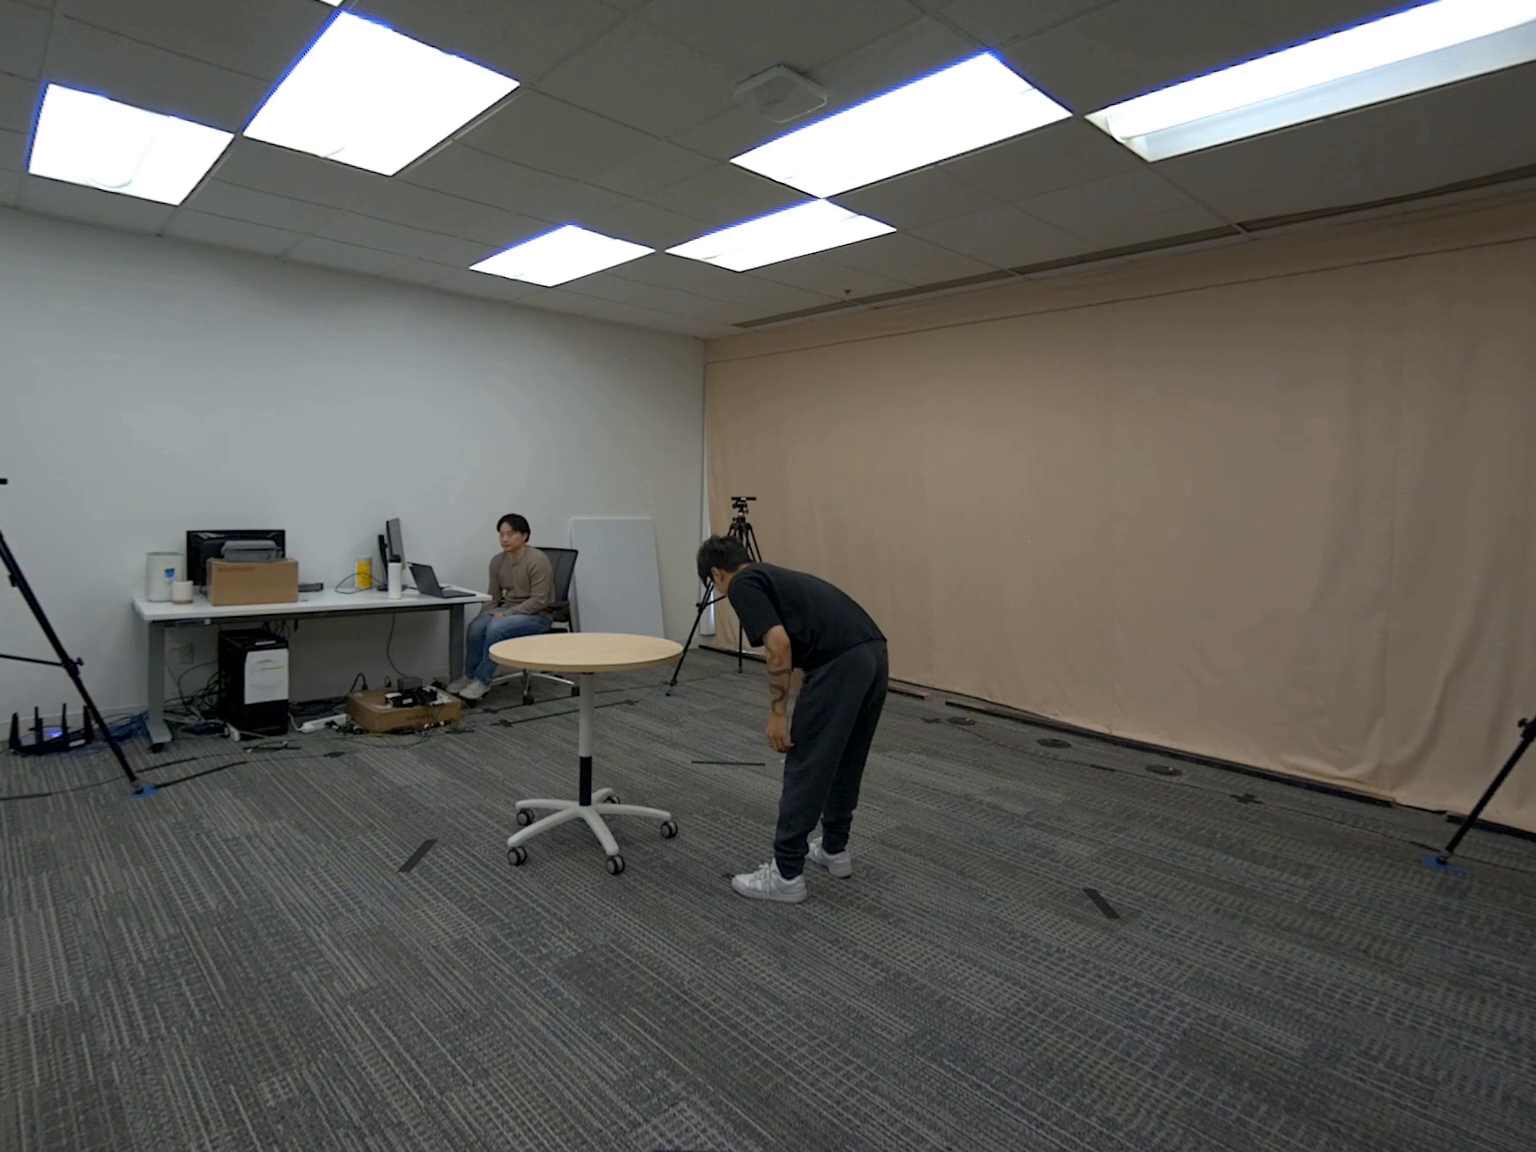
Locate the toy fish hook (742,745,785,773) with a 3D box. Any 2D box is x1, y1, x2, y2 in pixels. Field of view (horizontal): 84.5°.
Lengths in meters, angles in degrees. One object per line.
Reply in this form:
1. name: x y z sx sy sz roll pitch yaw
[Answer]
1. toy fish hook: 0.107 0.742 3.465 0.226 0.049 0.492 -20 -23 19
